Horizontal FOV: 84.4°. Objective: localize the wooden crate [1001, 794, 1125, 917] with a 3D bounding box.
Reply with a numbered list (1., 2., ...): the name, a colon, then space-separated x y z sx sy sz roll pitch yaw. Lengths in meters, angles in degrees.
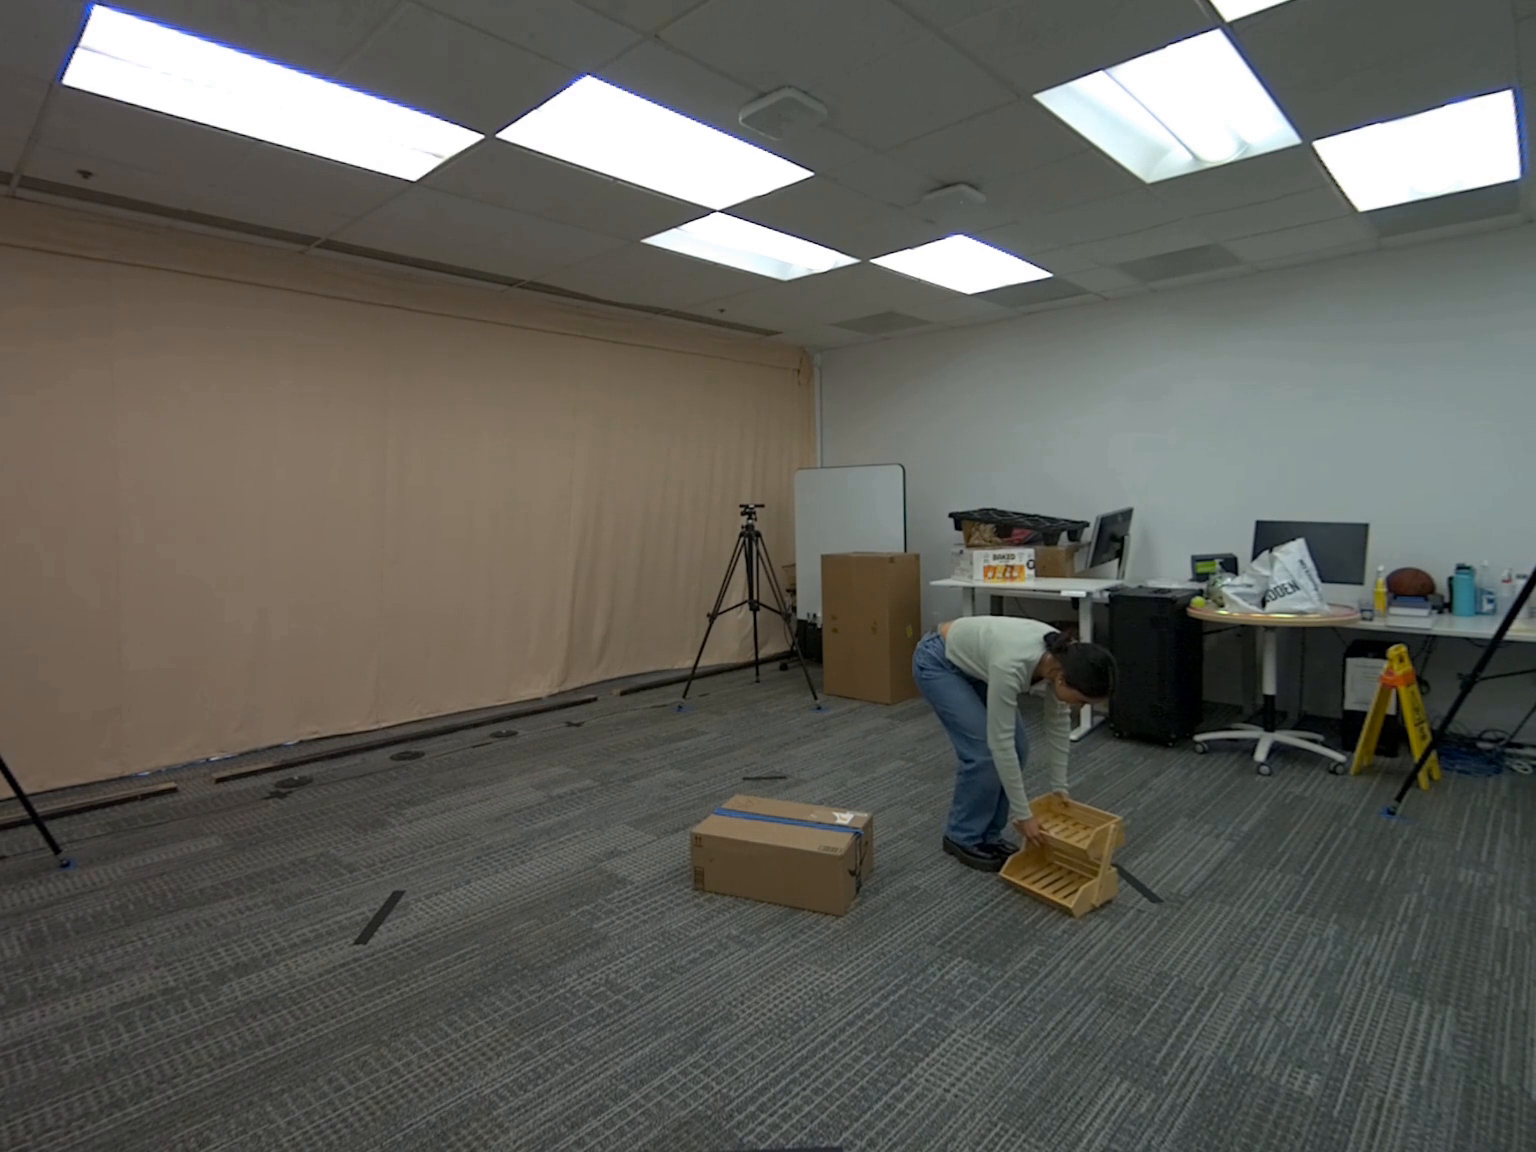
1. wooden crate: 1.023 0.965 2.975 0.294 0.272 0.334 -10 9 -33
